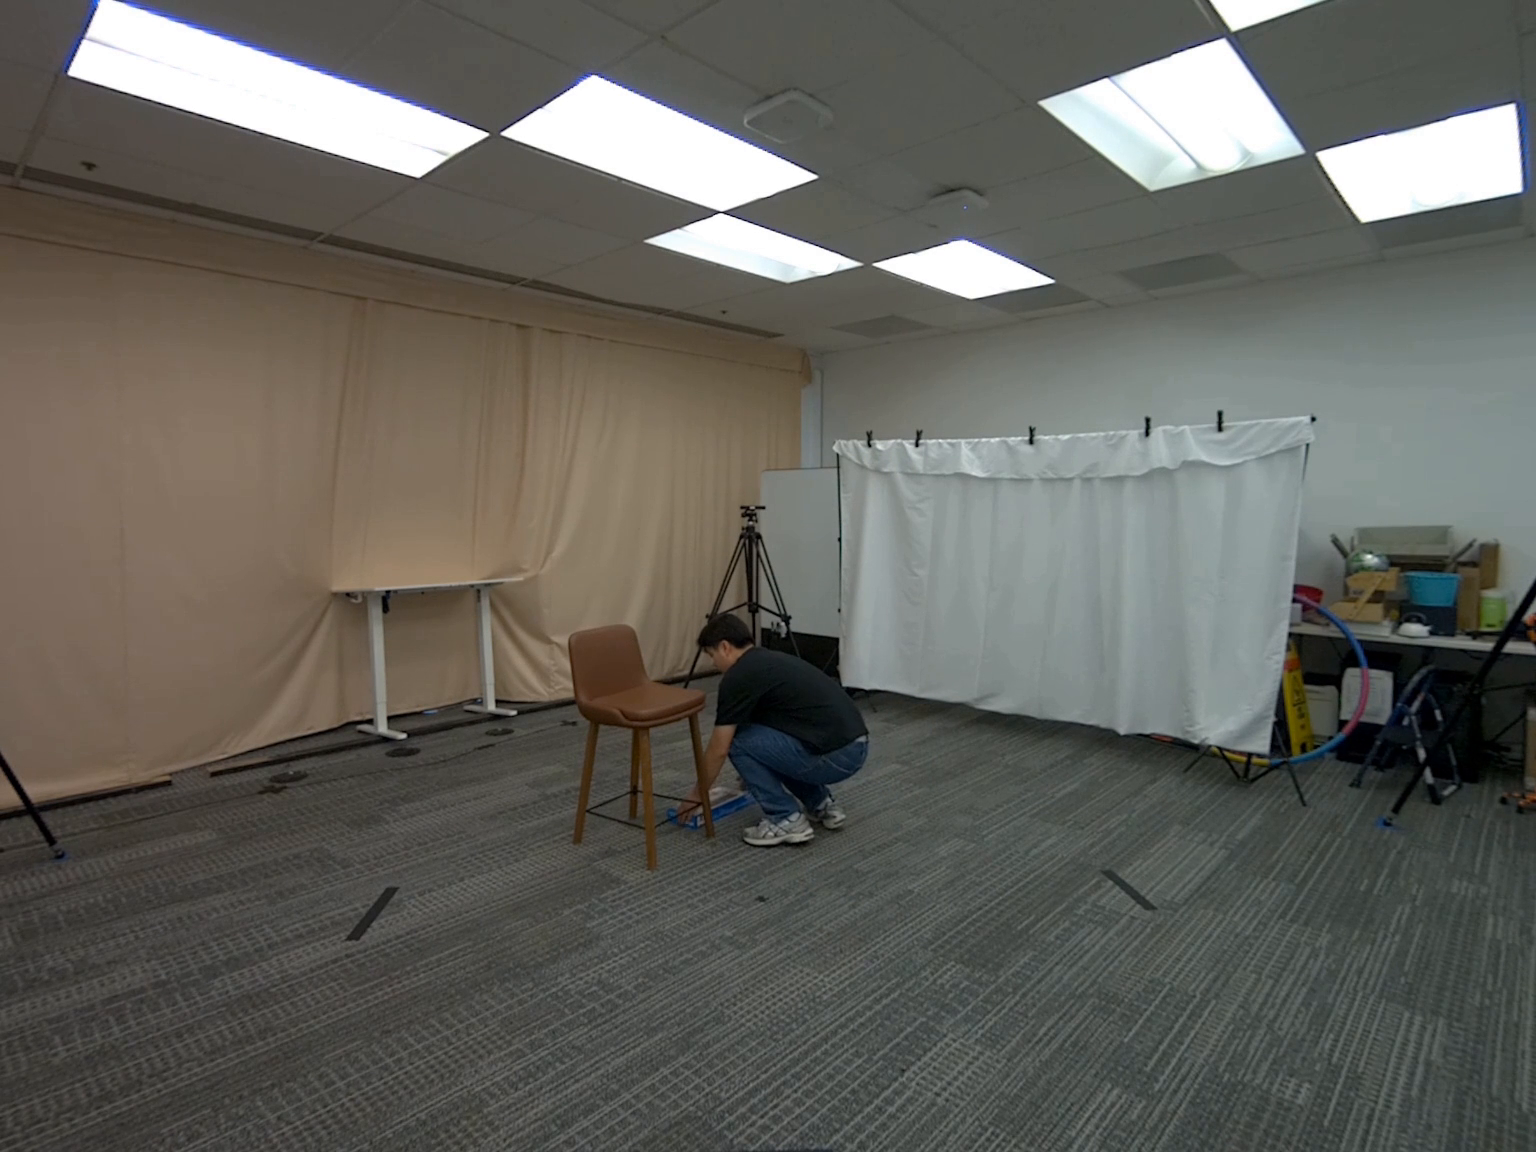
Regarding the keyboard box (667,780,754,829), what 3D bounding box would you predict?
[{"bbox_3d":[-0.254,1.049,3.849,0.181,0.059,0.424,2,6,38],"label":"keyboard box"}]
